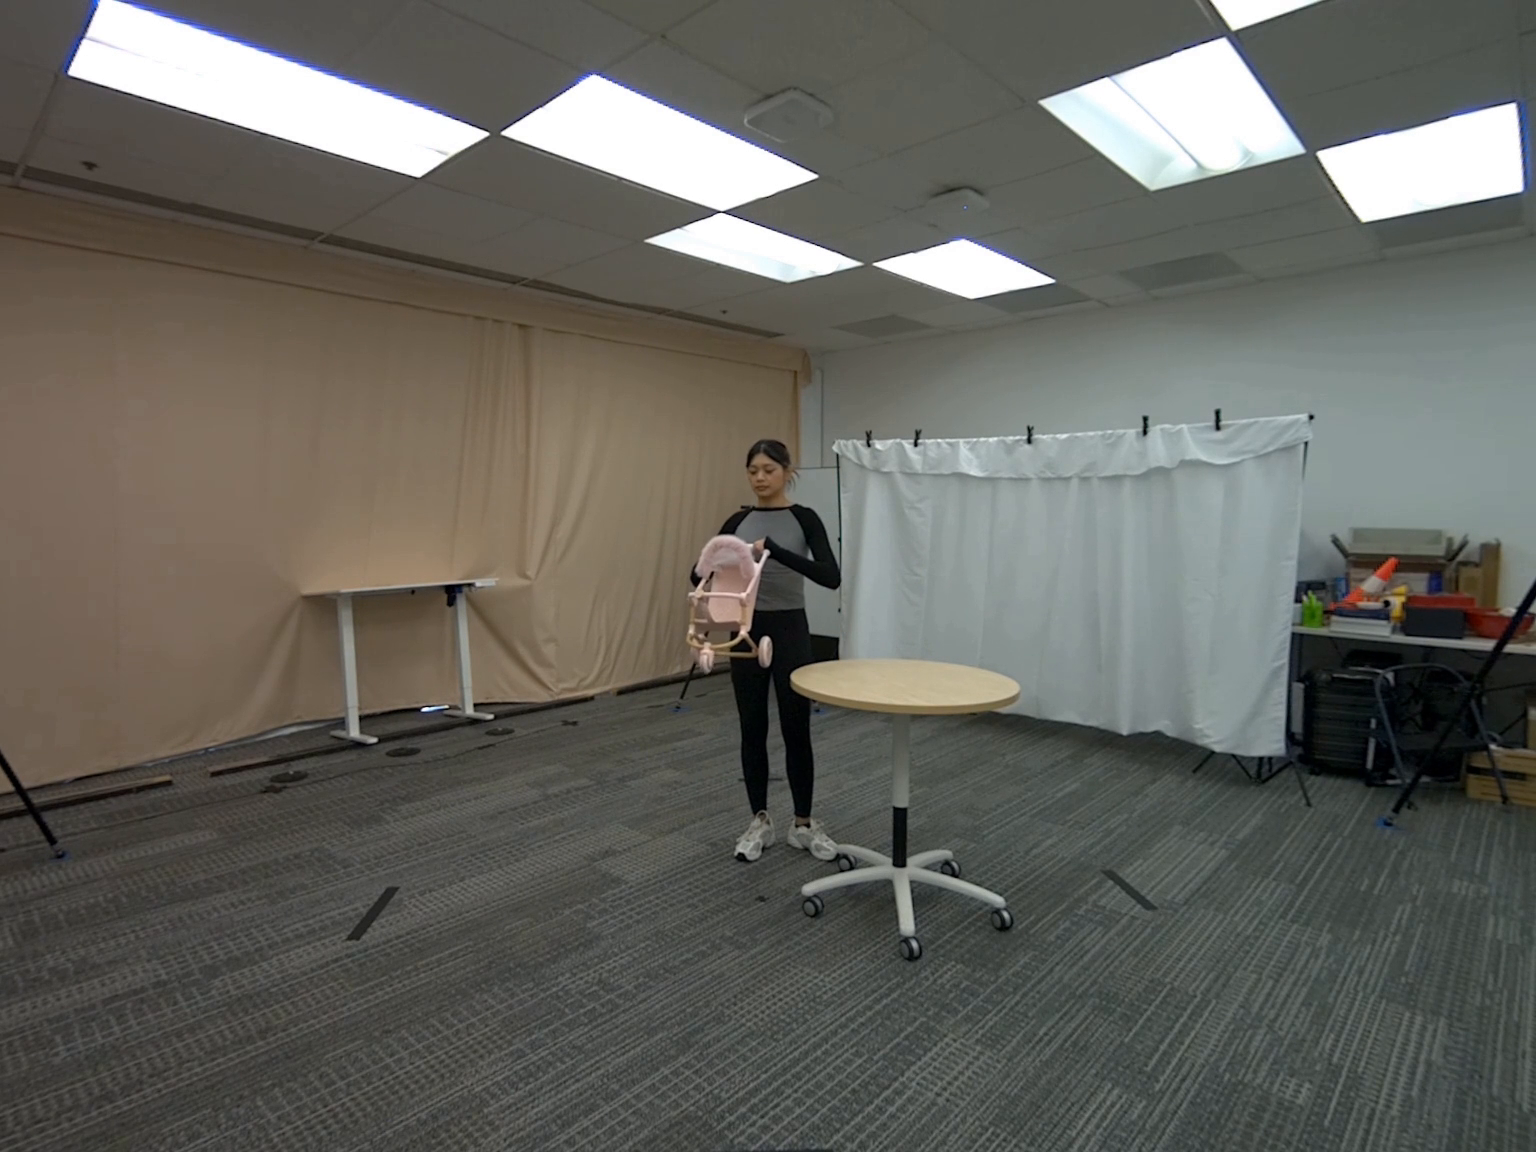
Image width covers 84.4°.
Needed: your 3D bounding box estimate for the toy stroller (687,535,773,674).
[{"bbox_3d":[-0.145,0.097,2.958,0.288,0.538,0.331,-1,-14,22],"label":"toy stroller"}]
